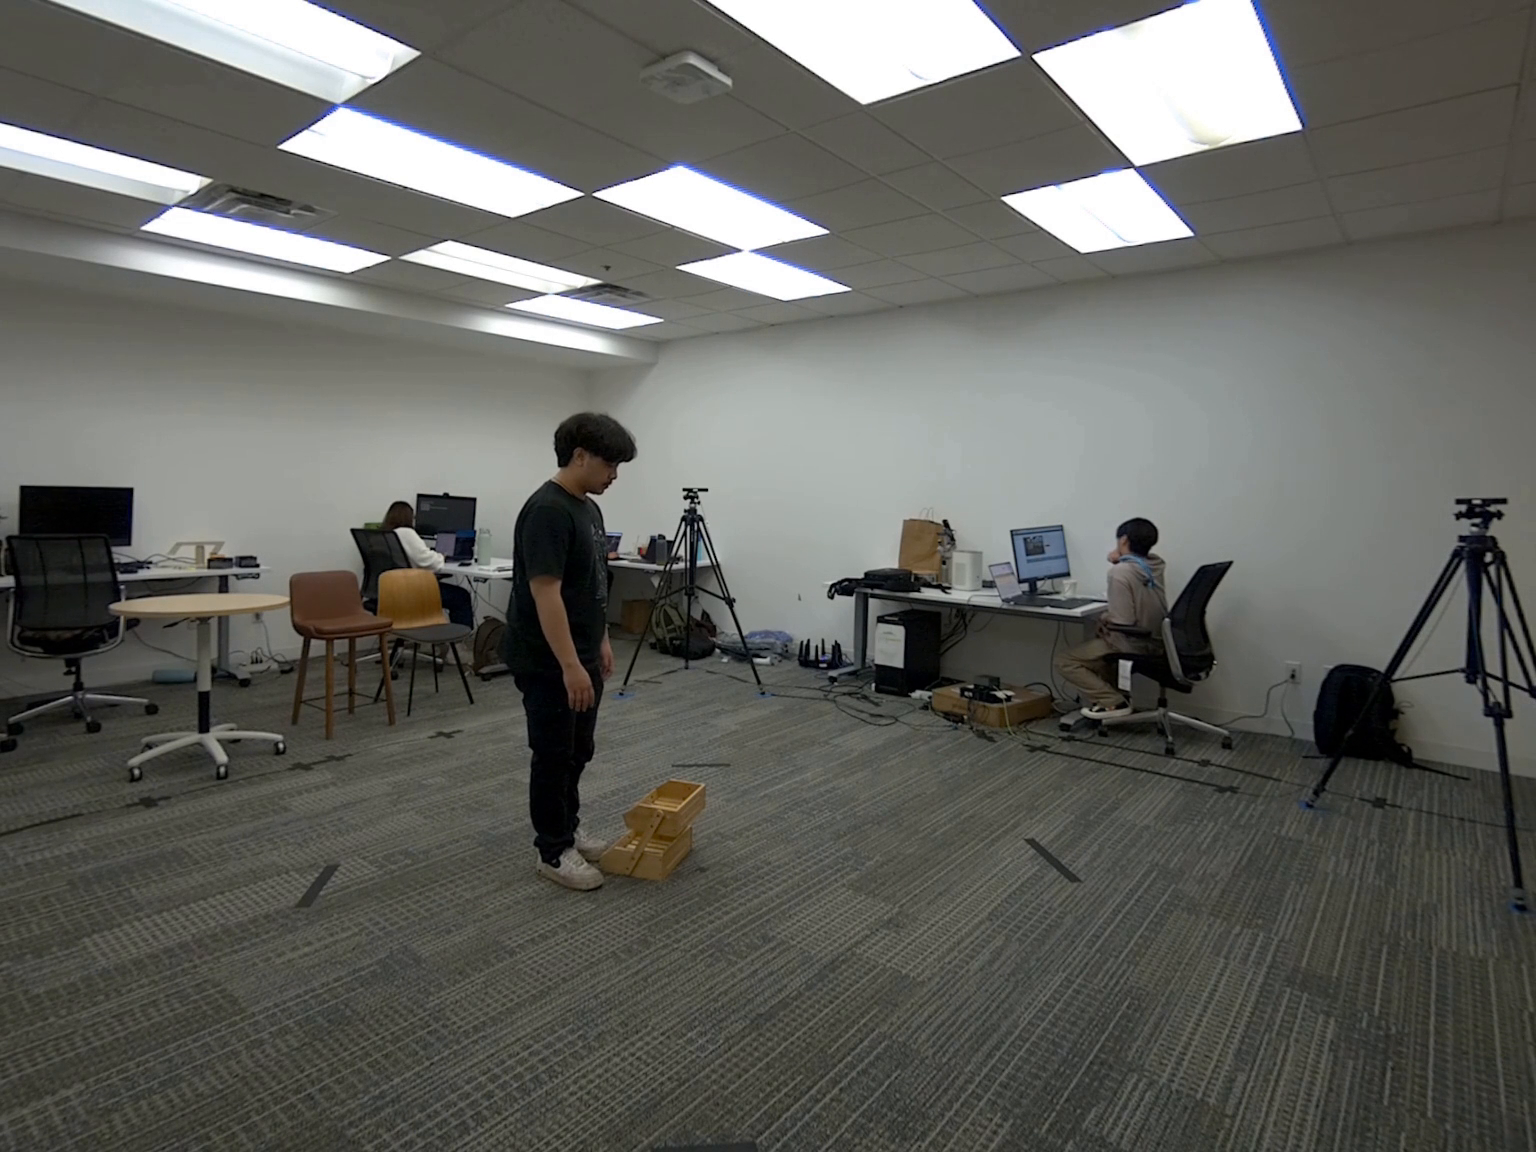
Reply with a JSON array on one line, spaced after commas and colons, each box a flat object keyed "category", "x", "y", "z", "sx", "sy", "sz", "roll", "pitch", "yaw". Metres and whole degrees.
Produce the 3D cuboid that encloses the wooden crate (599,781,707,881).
[{"category": "wooden crate", "x": -0.444, "y": 0.935, "z": 3.172, "sx": 0.308, "sy": 0.272, "sz": 0.319, "roll": 3, "pitch": 4, "yaw": 17}]
